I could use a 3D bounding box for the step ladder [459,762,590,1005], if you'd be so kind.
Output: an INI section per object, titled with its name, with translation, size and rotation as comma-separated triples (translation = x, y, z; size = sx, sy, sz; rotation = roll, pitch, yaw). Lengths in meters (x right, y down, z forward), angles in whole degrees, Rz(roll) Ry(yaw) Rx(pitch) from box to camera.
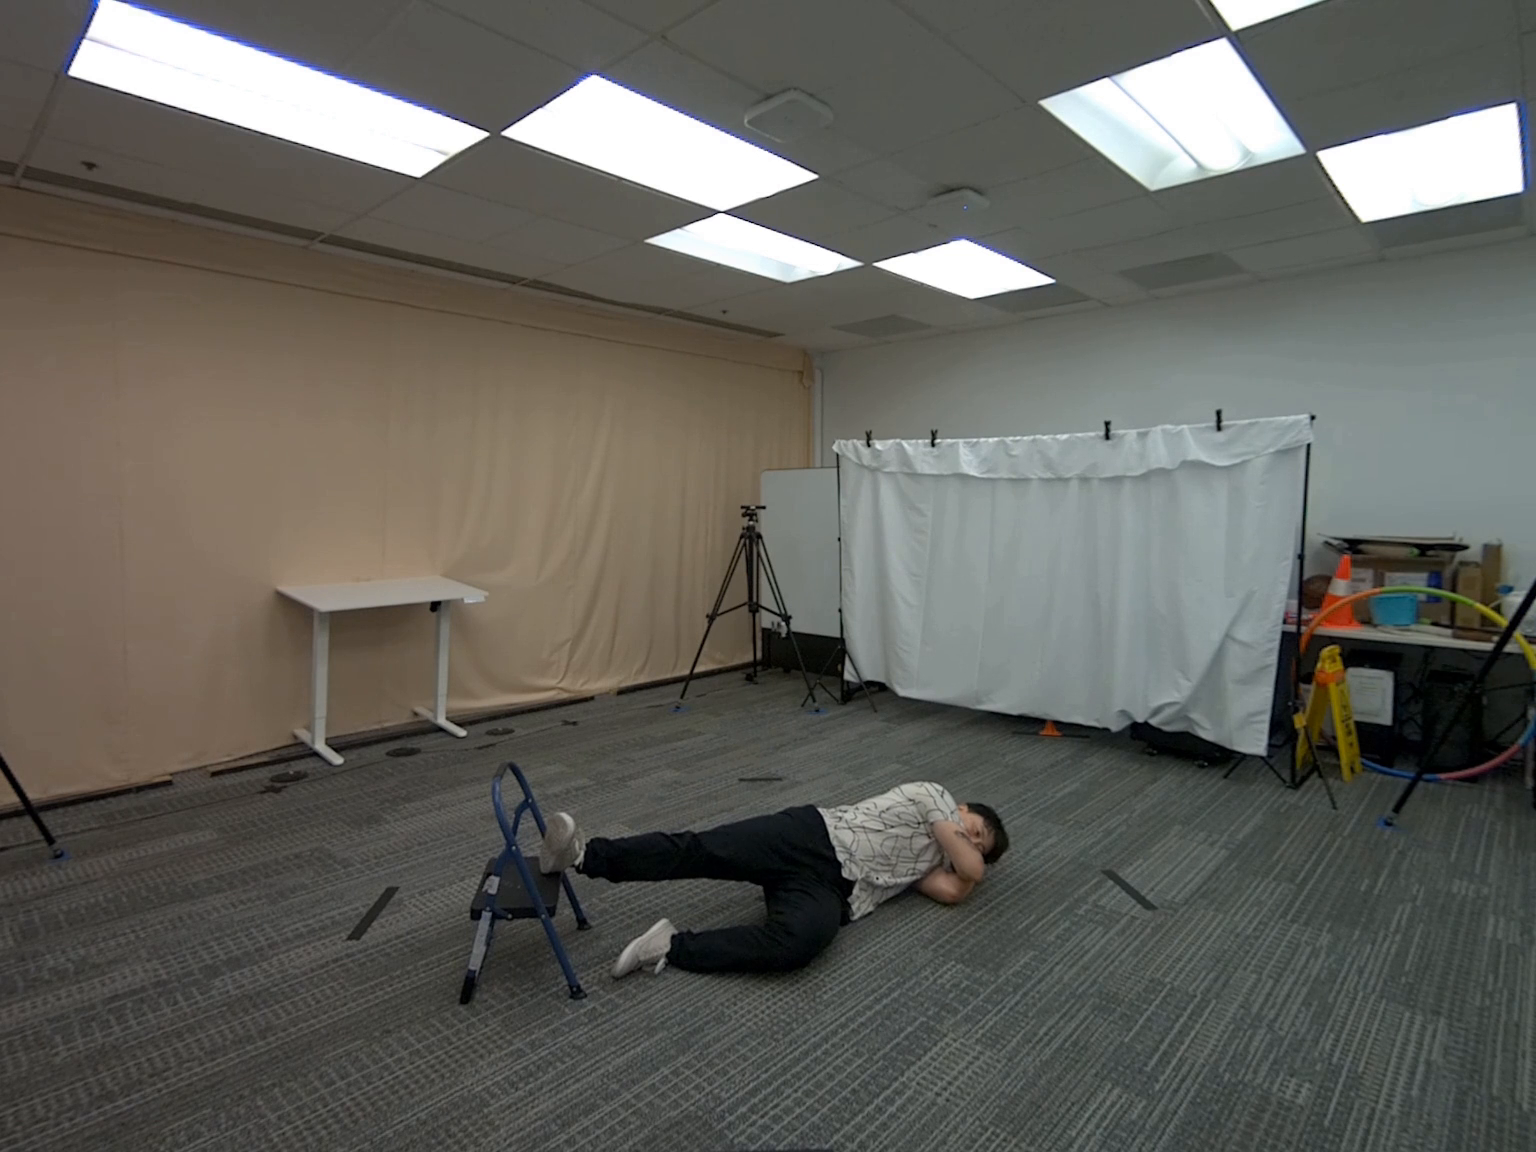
[step ladder]
translation = -0.733, 0.888, 2.555
size = 0.346, 0.605, 0.435
rotation = 0, 3, -10
